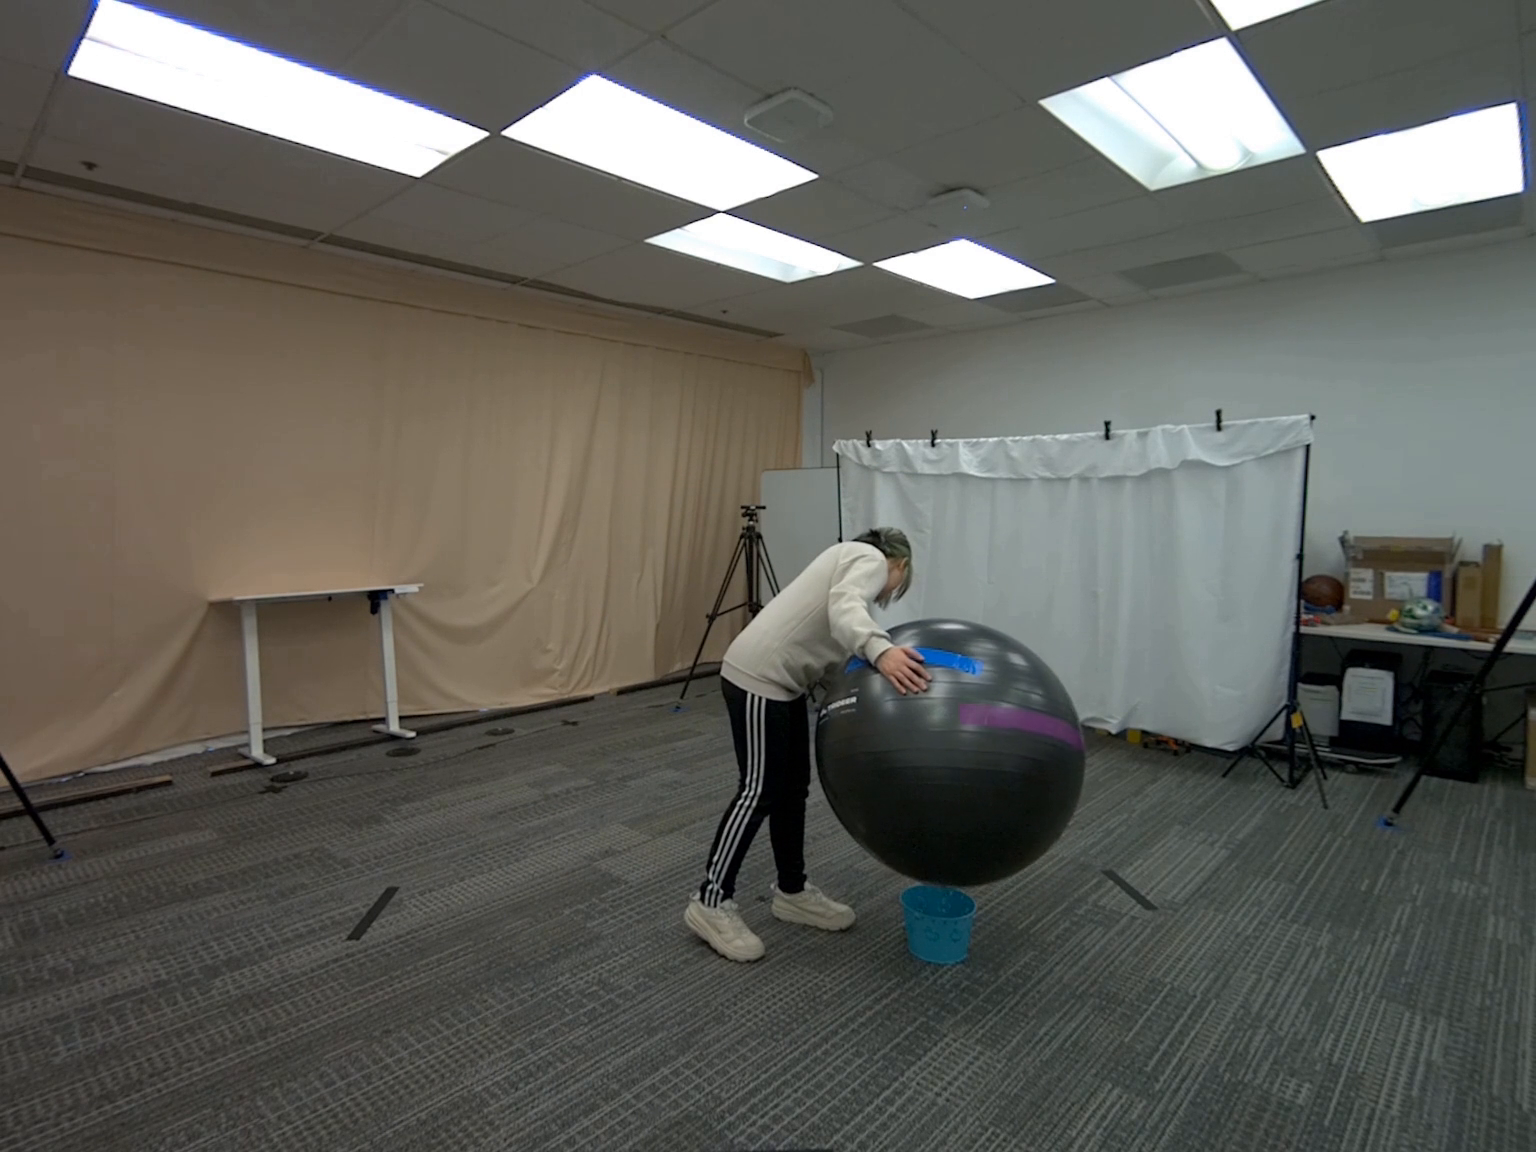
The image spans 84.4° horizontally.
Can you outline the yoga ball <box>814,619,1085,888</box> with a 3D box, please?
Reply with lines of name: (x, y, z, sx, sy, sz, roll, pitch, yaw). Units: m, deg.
yoga ball: (0.527, 0.520, 2.483, 0.757, 0.756, 0.760, 0, 4, -2)
